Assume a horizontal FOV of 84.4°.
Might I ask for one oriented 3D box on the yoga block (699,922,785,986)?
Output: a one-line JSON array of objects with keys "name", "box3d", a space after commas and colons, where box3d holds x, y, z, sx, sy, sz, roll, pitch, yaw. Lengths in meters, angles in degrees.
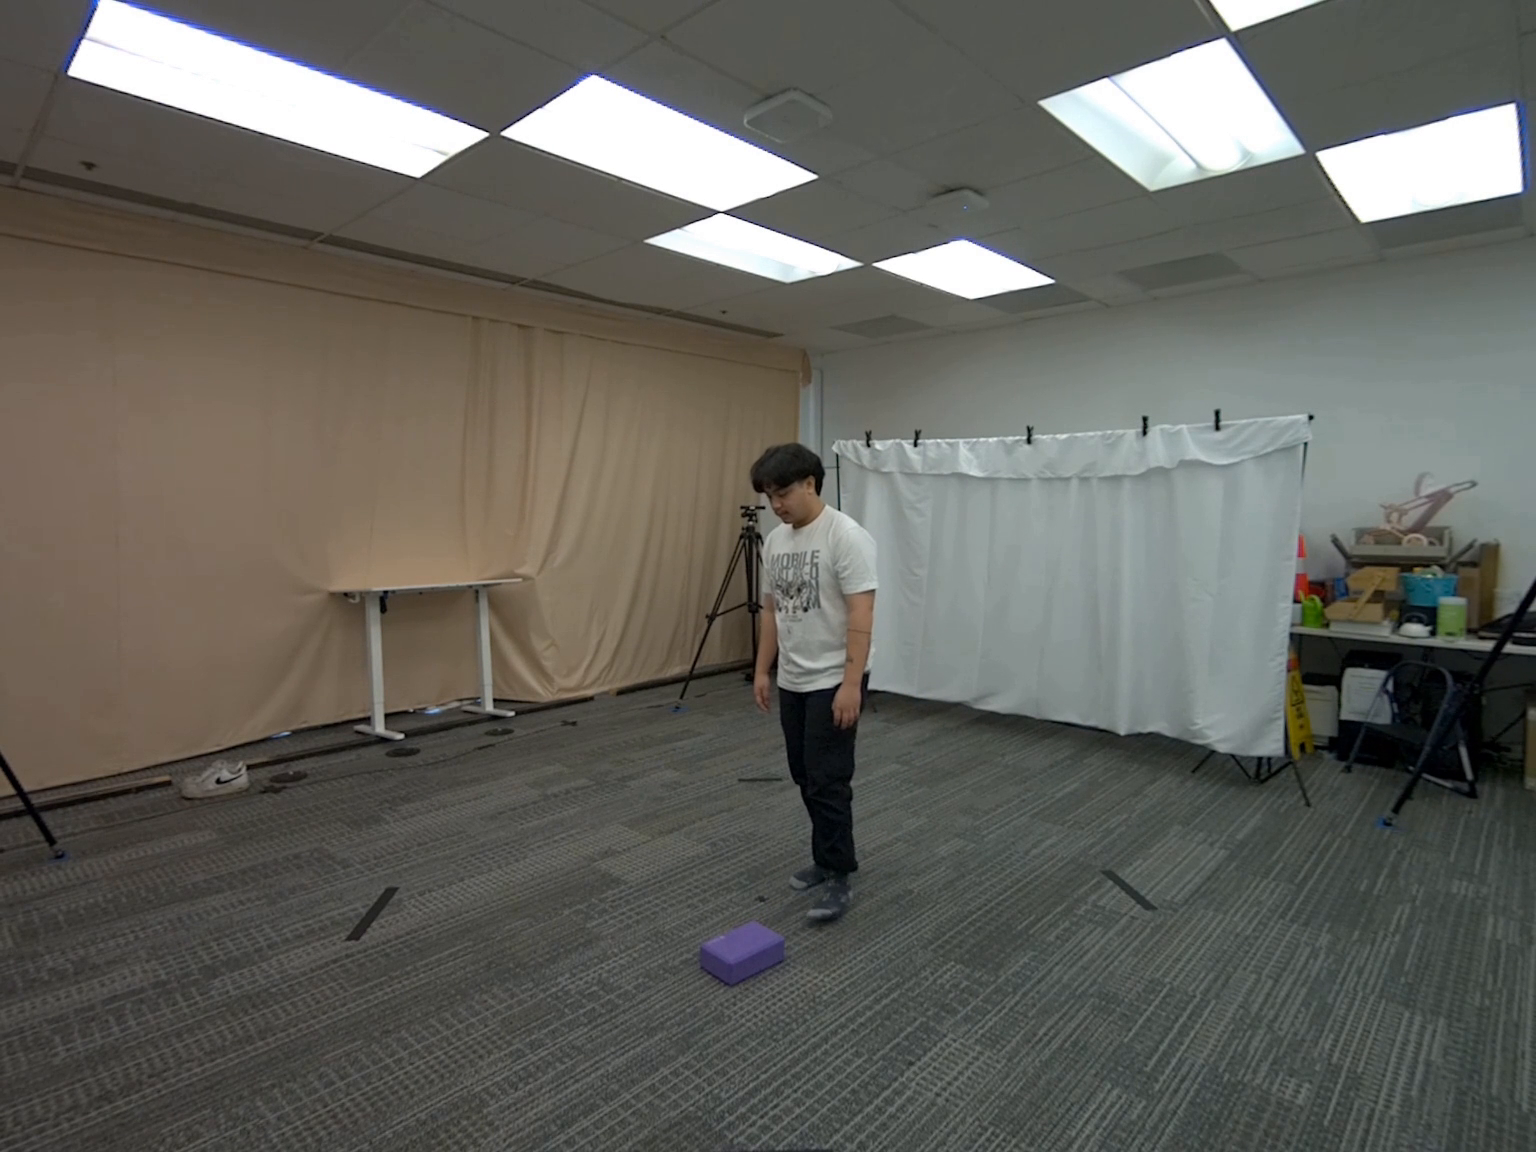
[{"name": "yoga block", "box3d": [-0.074, 1.144, 2.553, 0.222, 0.076, 0.154, -4, 6, -43]}]
